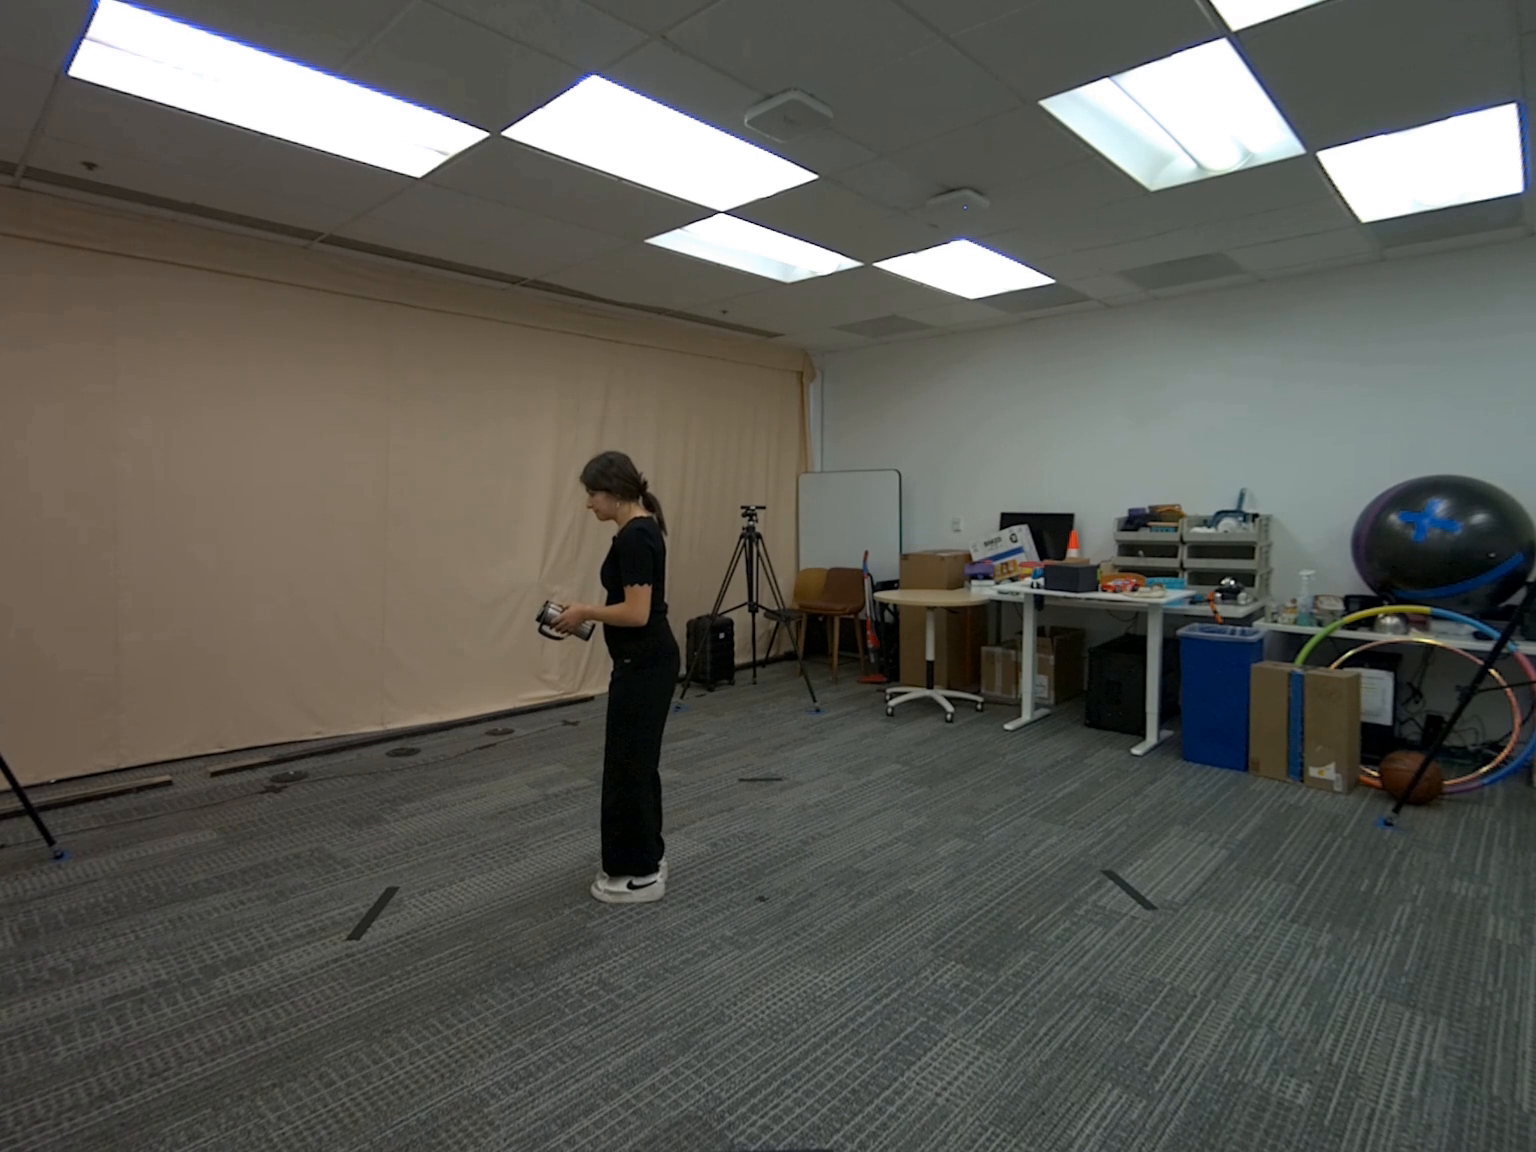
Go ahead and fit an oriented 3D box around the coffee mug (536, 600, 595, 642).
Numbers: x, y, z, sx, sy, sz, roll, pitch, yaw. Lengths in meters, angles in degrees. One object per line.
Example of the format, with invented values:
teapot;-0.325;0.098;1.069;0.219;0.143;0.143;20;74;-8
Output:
coffee mug;-0.736;0.182;3.047;0.201;0.123;0.088;26;-36;-10
